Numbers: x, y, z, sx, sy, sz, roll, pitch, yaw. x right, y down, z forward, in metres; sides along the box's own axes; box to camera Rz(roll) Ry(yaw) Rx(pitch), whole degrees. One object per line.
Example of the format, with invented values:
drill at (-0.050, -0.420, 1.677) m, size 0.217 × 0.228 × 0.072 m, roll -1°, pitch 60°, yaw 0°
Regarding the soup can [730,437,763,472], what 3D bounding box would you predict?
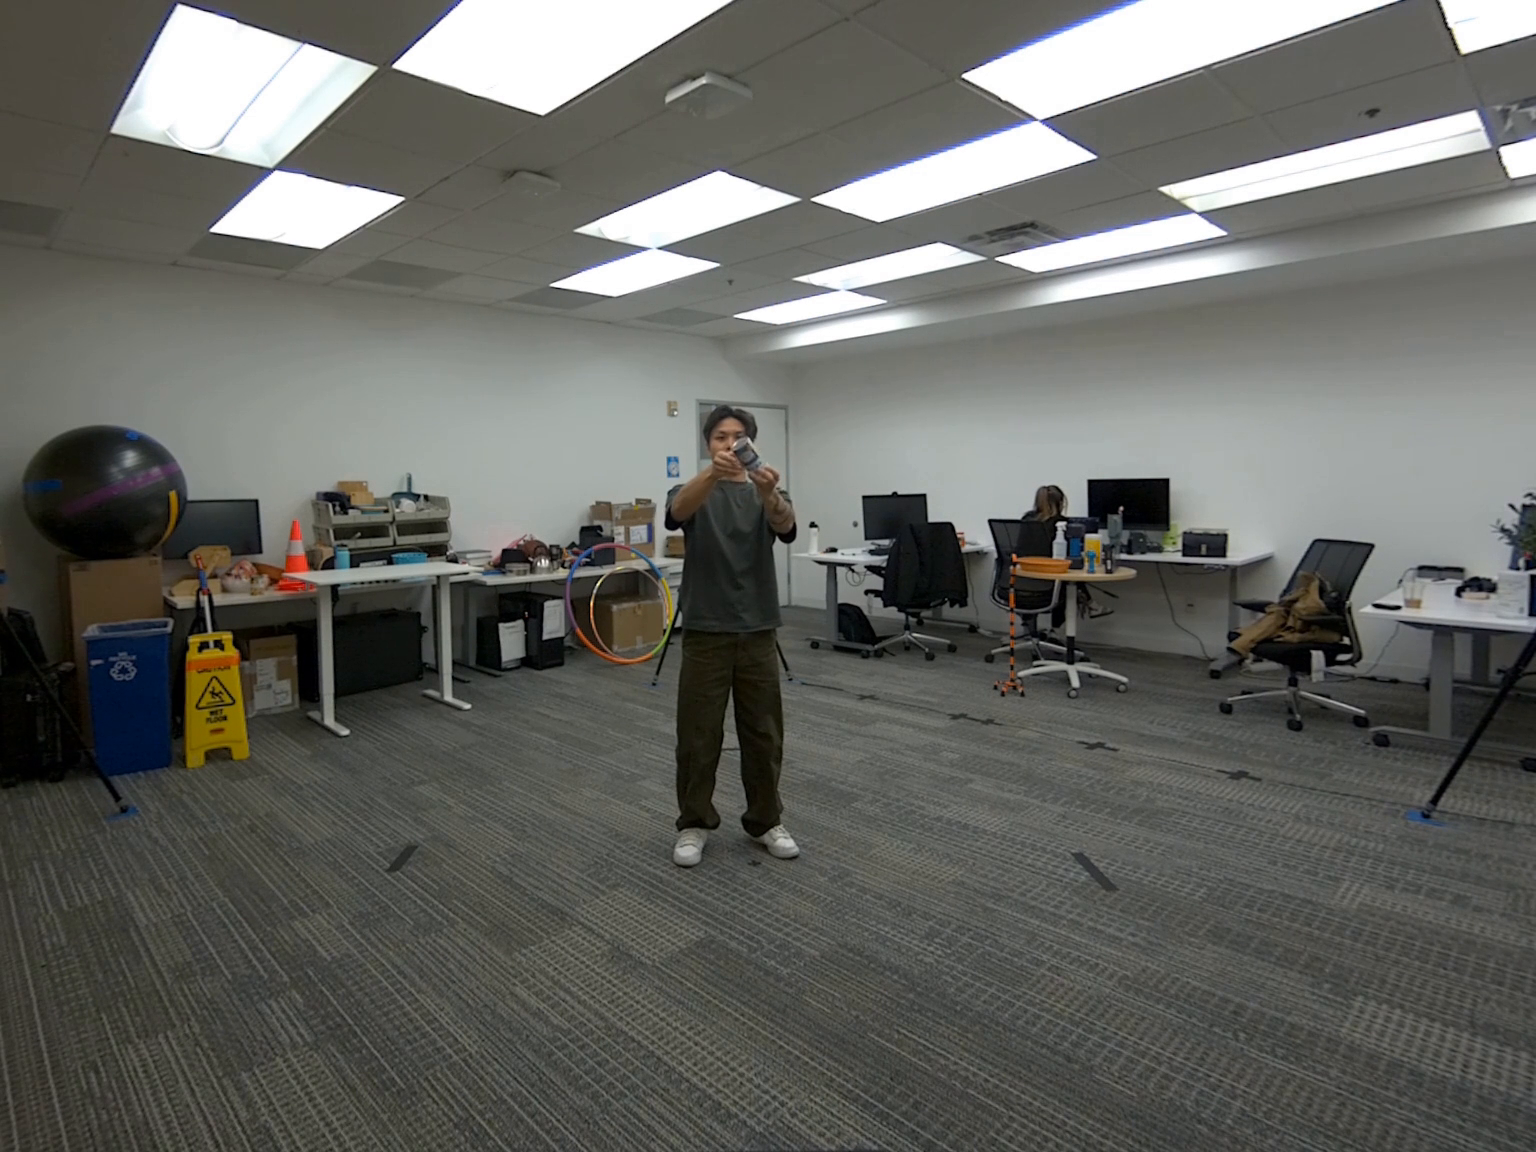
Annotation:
soup can at (-0.065, -0.371, 2.654) m, size 0.067 × 0.117 × 0.069 m, roll -24°, pitch 30°, yaw 14°
